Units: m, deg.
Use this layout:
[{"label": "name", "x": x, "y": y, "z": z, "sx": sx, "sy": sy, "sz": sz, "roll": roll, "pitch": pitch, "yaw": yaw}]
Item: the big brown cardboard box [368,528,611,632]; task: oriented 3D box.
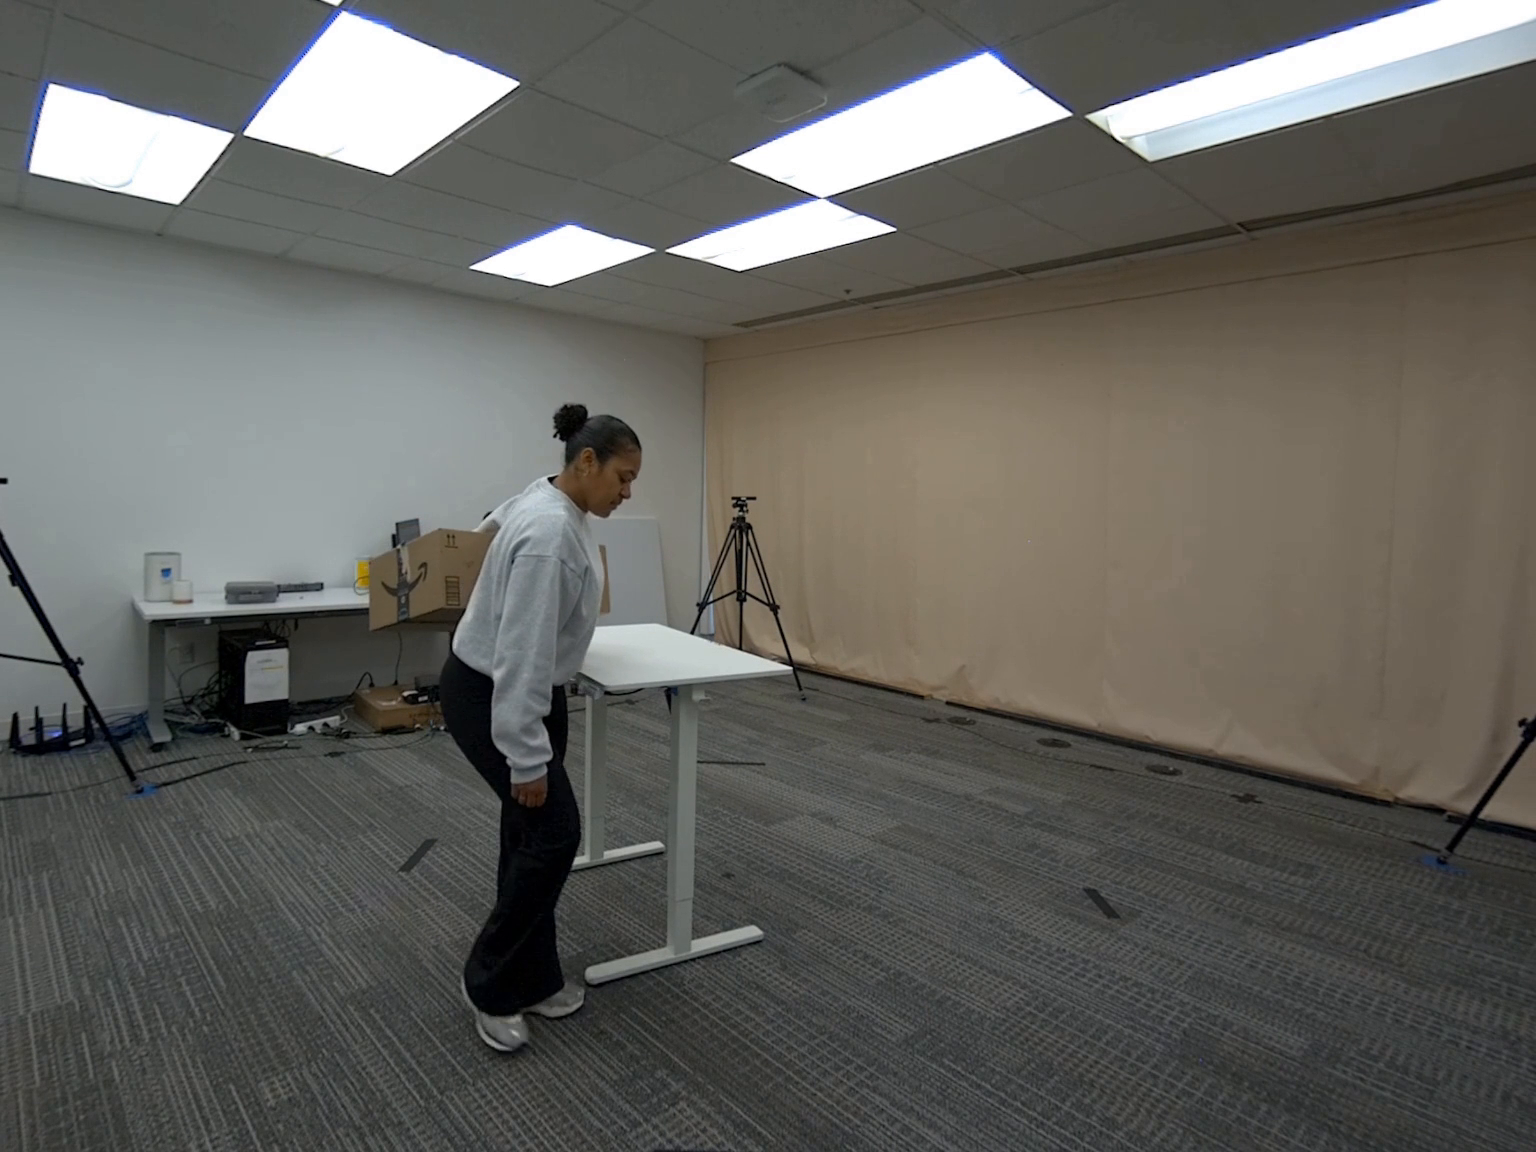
[{"label": "big brown cardboard box", "x": -0.834, "y": 0.037, "z": 2.523, "sx": 0.424, "sy": 0.235, "sz": 0.574, "roll": -14, "pitch": -12, "yaw": 38}]
